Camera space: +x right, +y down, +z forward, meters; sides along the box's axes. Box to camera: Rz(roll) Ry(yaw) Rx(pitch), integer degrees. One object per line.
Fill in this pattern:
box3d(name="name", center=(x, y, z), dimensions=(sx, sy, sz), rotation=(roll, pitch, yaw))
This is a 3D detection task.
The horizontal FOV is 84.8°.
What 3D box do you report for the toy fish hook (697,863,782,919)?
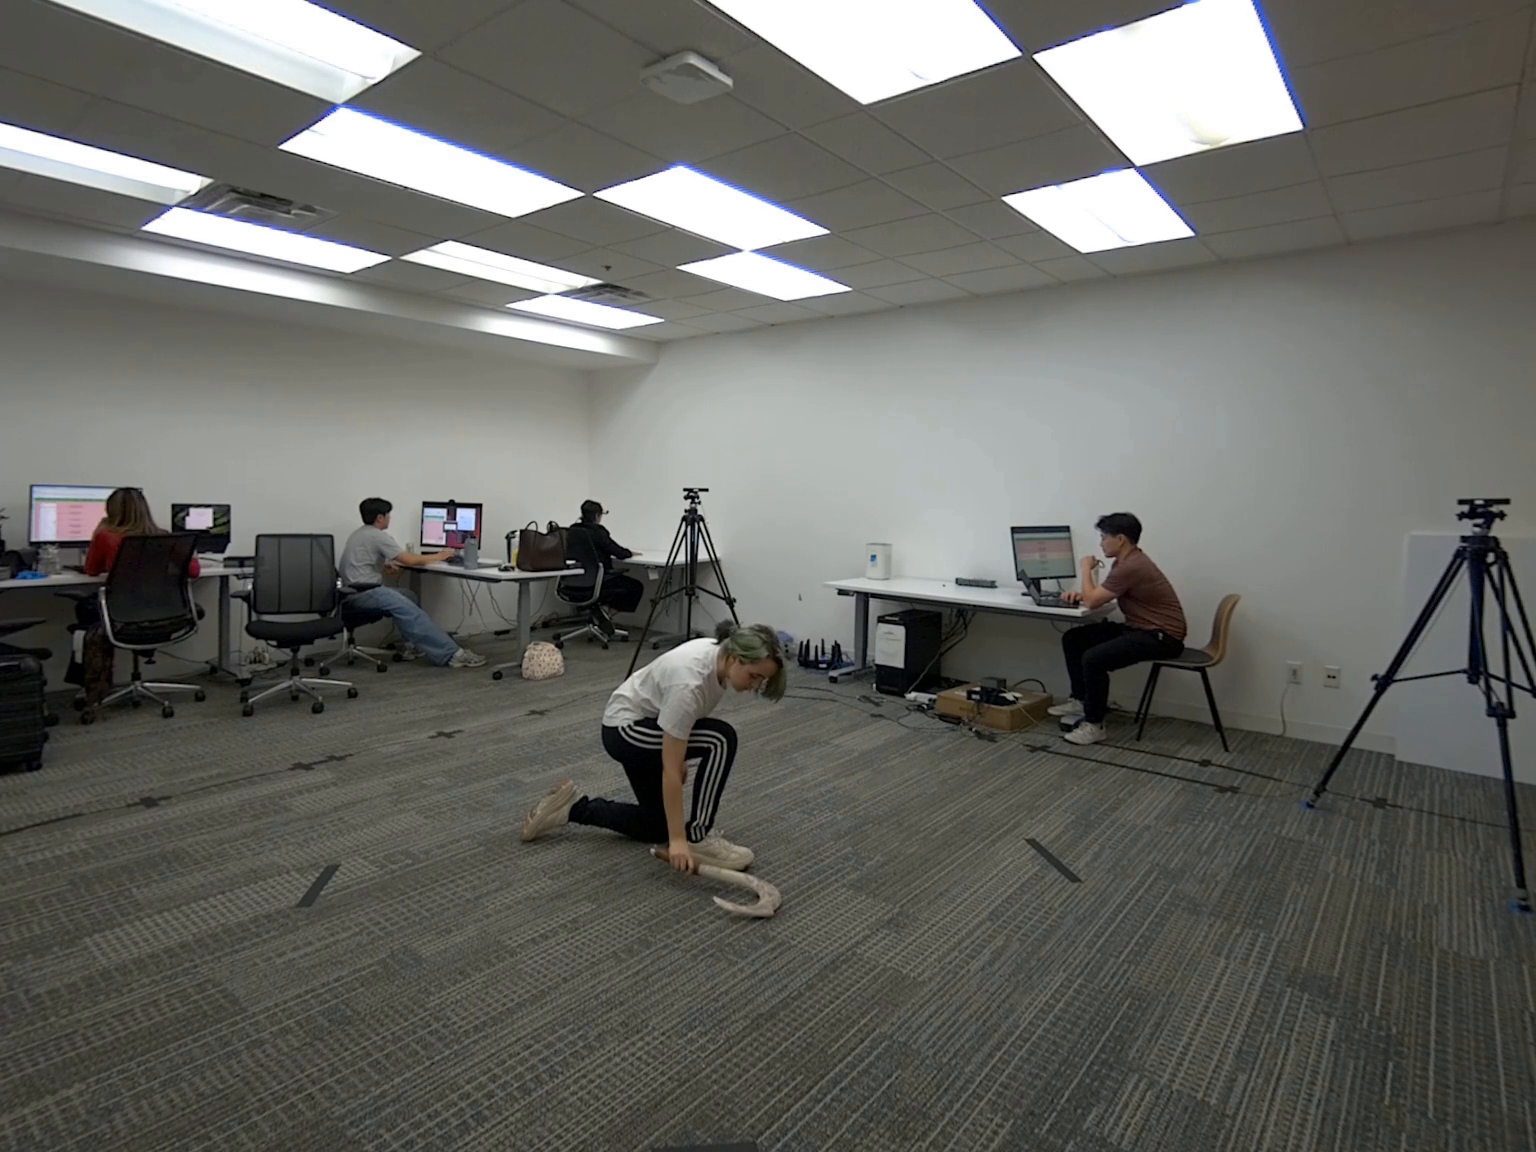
box3d(name="toy fish hook", center=(-0.202, 1.027, 2.884), dimensions=(0.519, 0.048, 0.220), rotation=(11, 6, 20))
